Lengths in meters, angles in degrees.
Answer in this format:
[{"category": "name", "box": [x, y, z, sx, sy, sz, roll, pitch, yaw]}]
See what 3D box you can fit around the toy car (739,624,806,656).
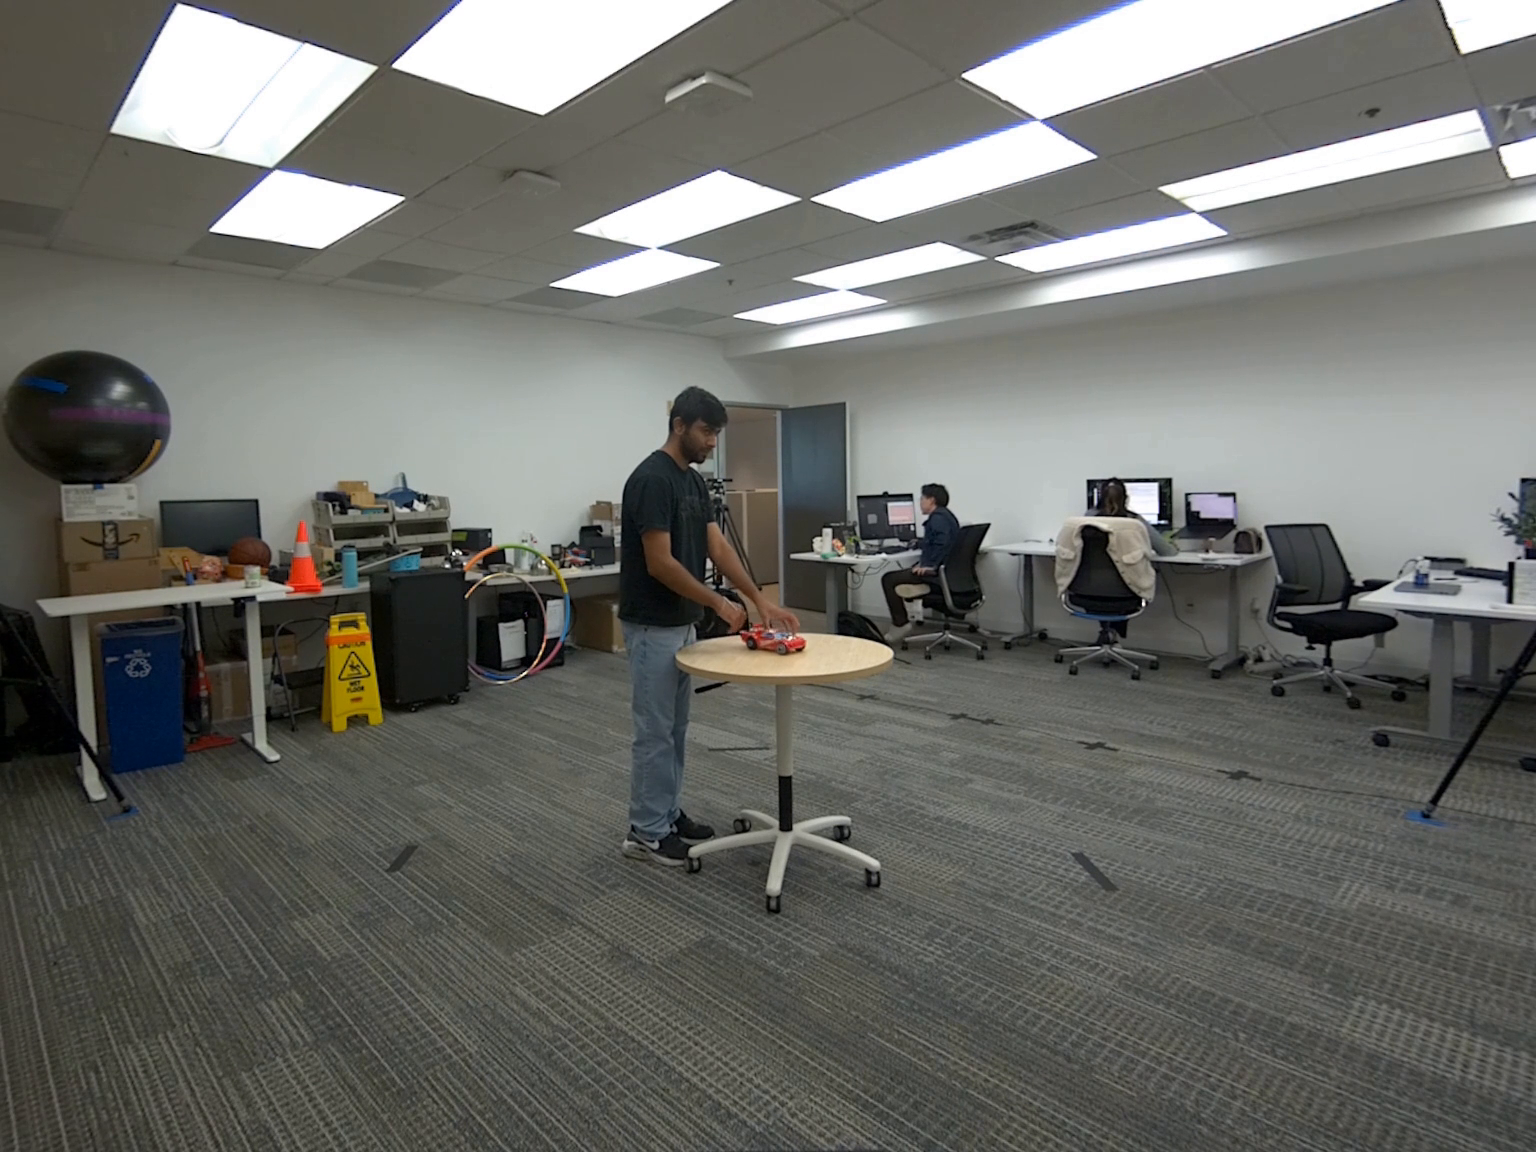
[{"category": "toy car", "box": [0.009, 0.232, 3.069, 0.264, 0.082, 0.127, 19, 18, 41]}]
